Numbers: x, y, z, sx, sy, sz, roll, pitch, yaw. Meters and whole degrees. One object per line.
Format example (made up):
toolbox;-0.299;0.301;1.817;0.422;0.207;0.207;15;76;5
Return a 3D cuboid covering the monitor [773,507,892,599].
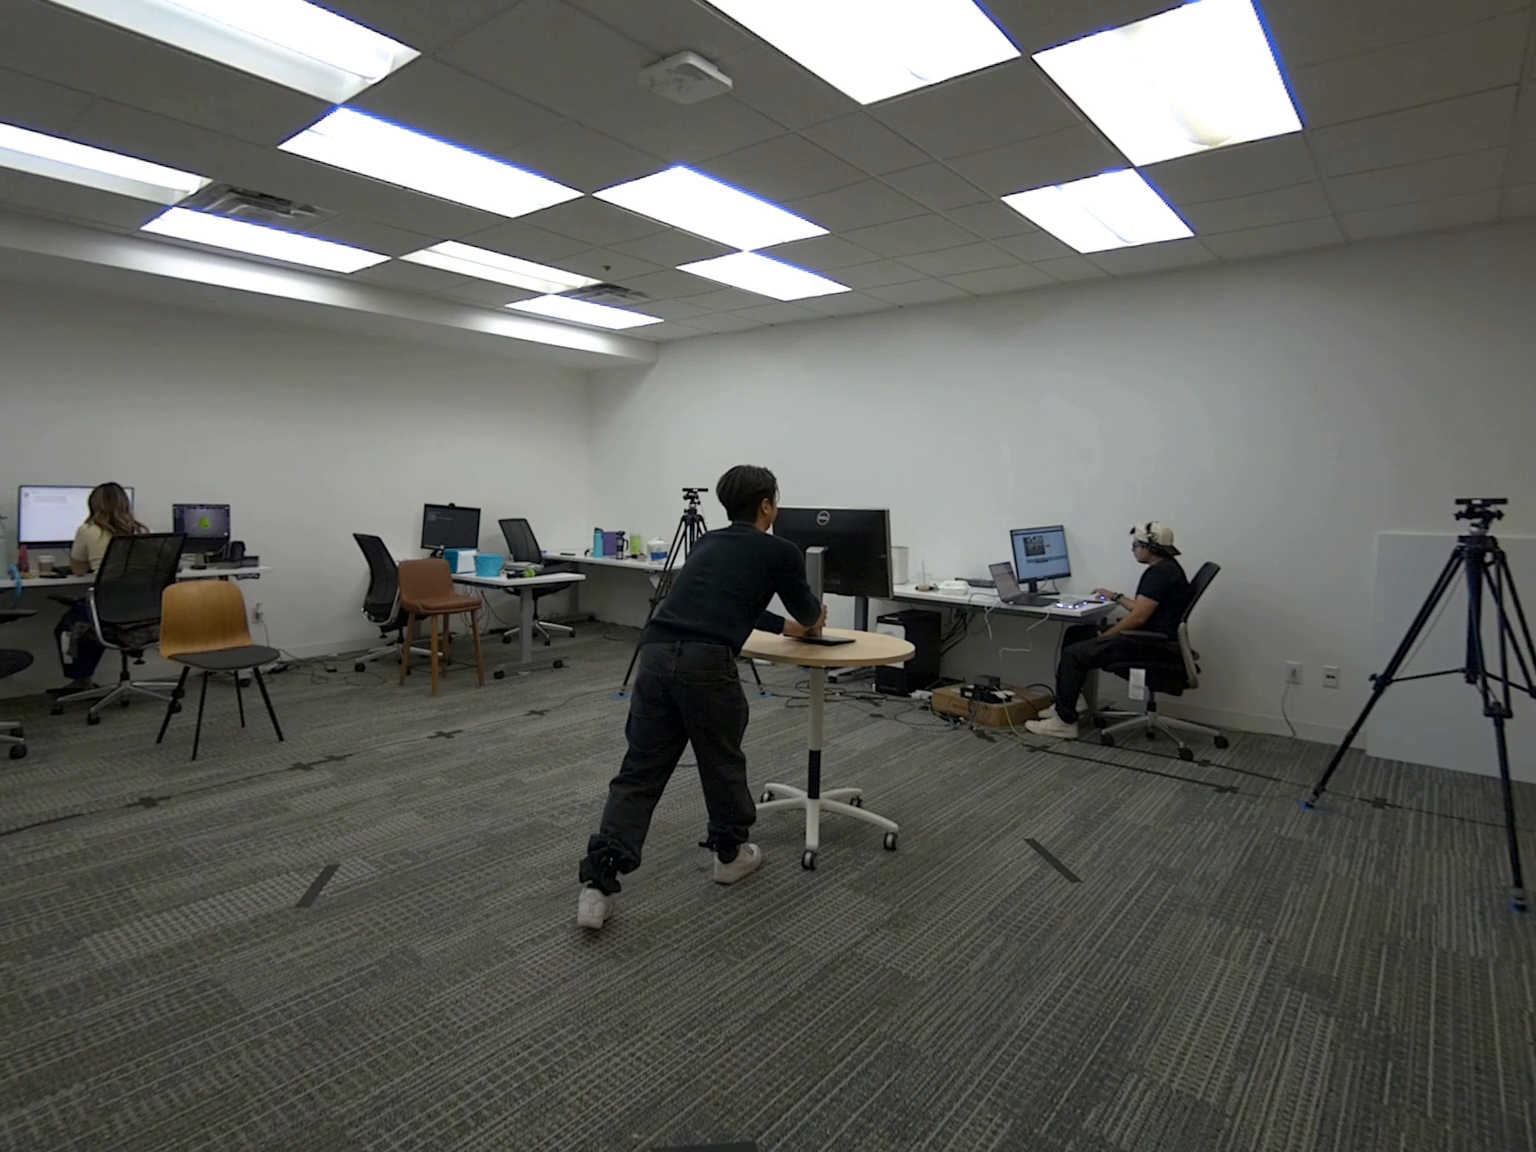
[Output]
monitor;0.221;-0.013;3.486;0.557;0.523;0.181;4;0;37
